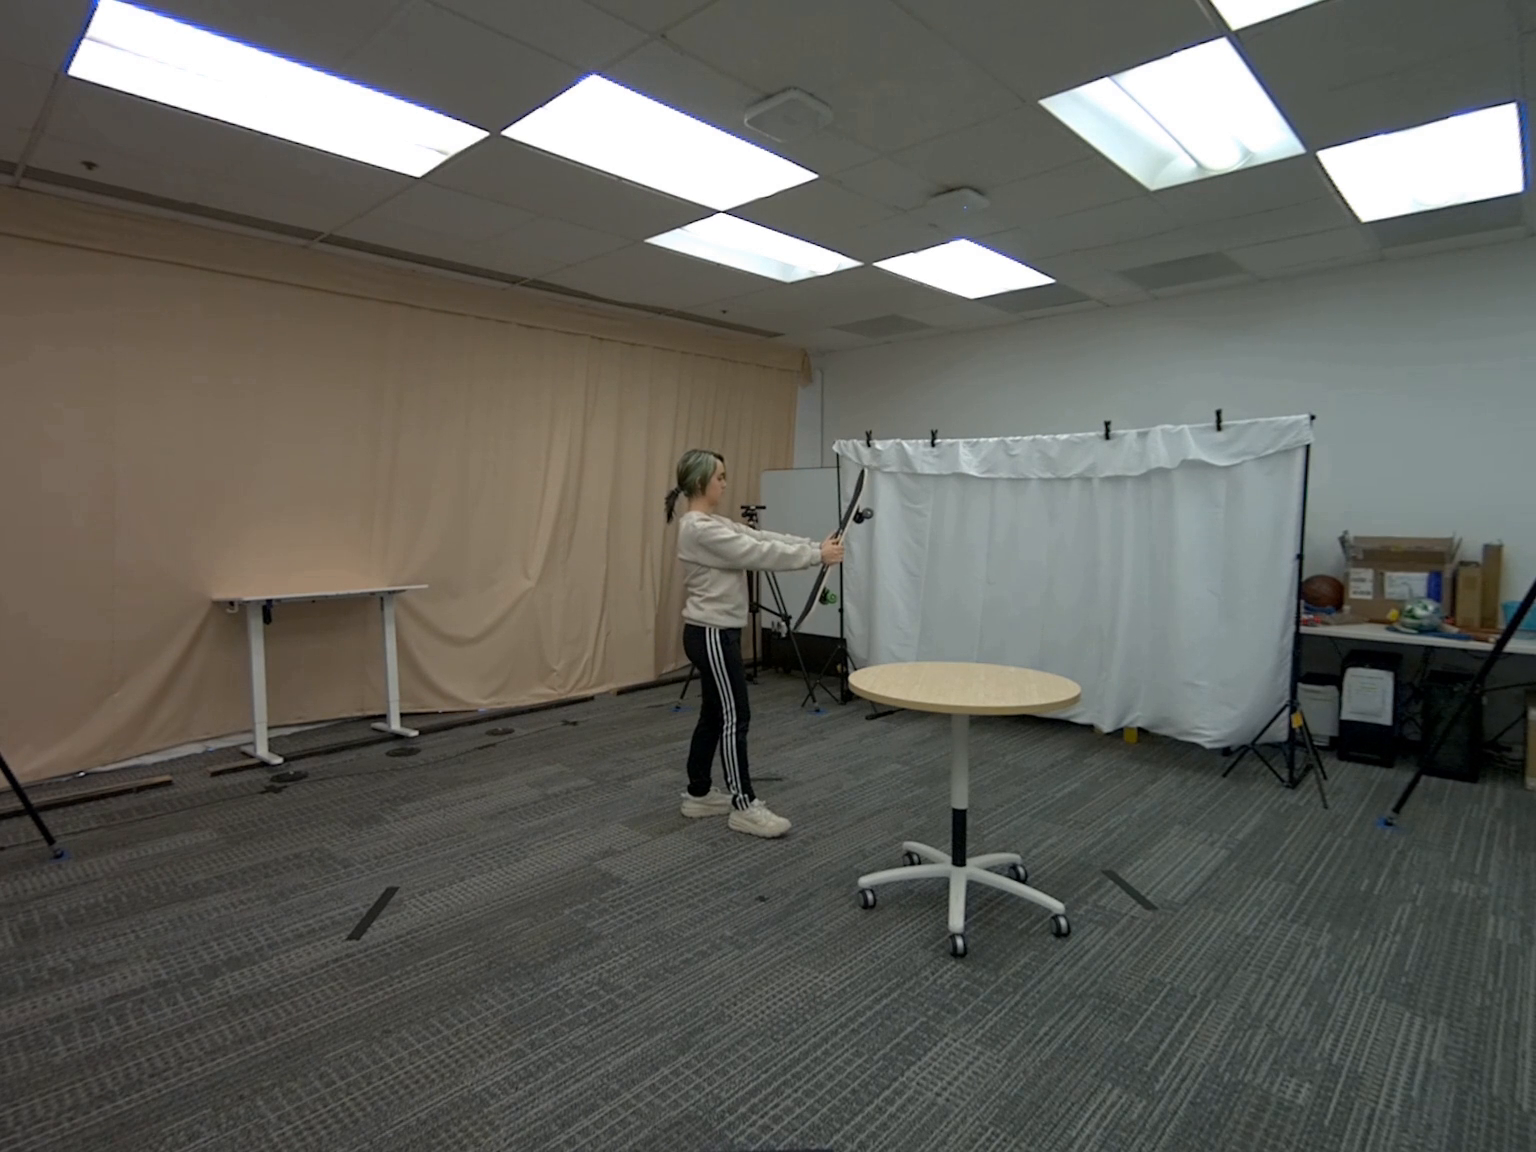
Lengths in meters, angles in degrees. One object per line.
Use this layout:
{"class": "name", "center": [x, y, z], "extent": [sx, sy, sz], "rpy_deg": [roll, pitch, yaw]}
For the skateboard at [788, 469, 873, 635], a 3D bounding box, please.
{"class": "skateboard", "center": [0.322, -0.100, 3.685], "extent": [0.110, 0.786, 0.194], "rpy_deg": [24, -7, -4]}
